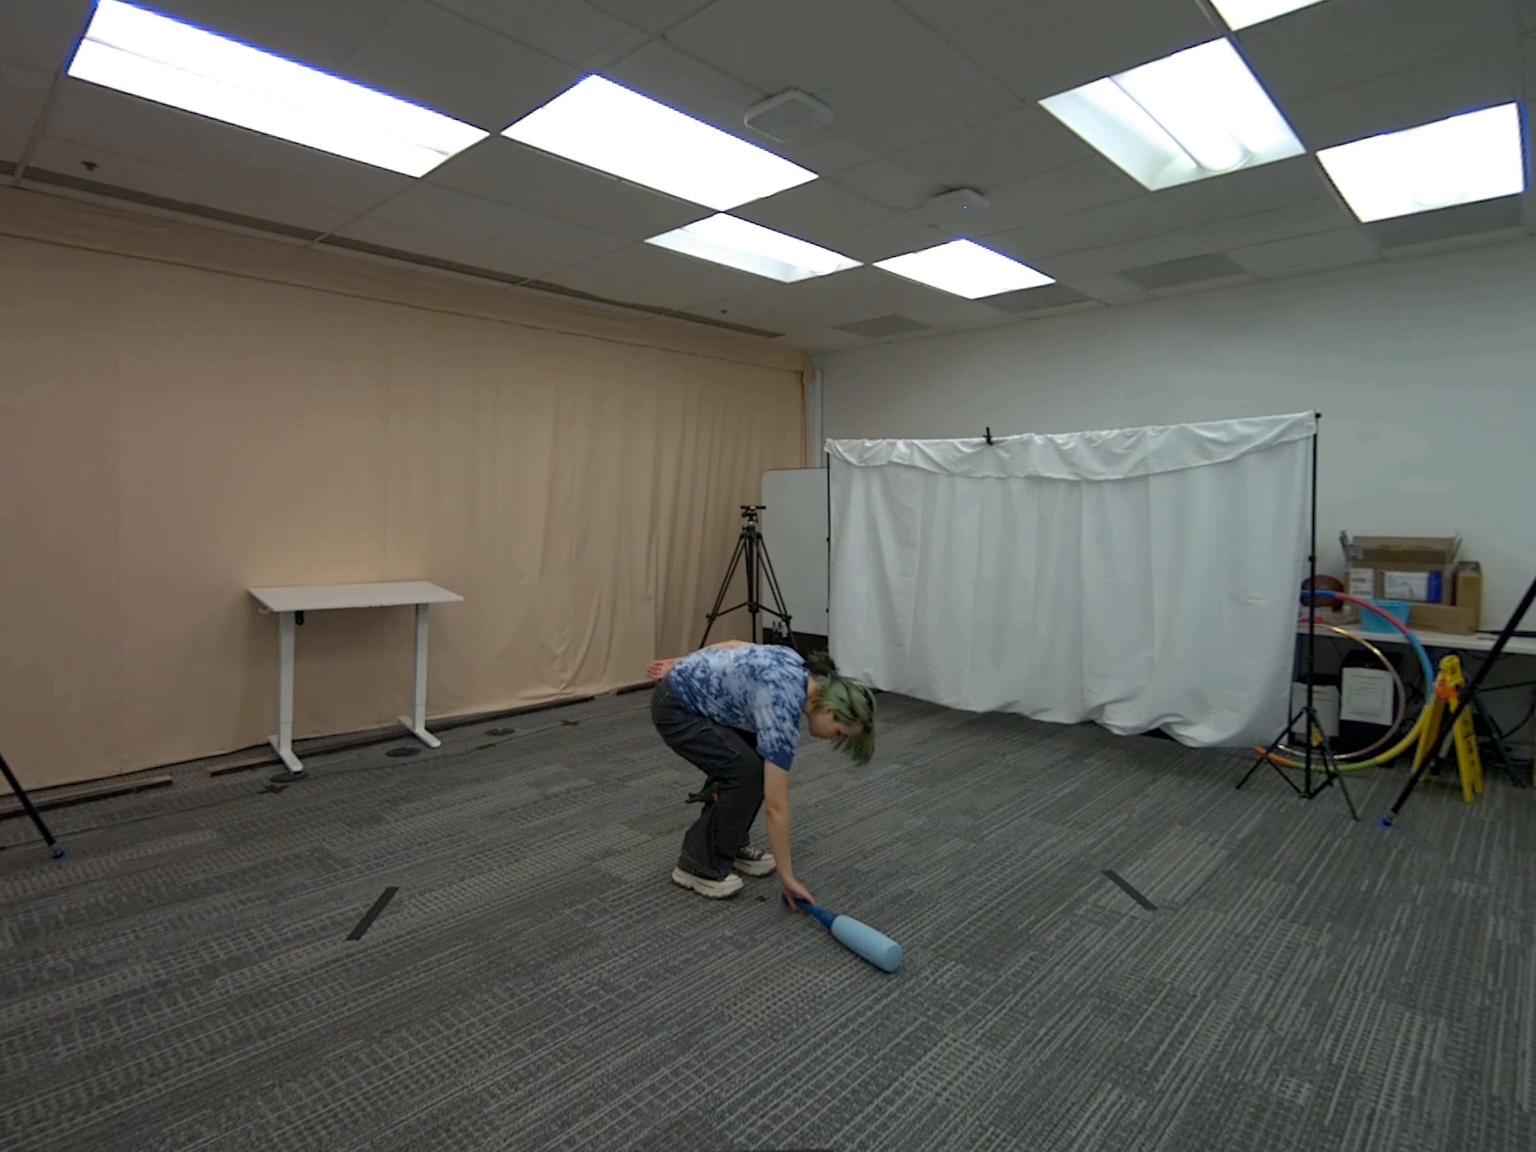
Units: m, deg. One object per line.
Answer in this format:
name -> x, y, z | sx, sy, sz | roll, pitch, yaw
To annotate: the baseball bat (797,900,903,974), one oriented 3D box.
baseball bat -> 0.223, 1.131, 2.722 | 0.086, 0.089, 0.559 | -2, 2, -34
